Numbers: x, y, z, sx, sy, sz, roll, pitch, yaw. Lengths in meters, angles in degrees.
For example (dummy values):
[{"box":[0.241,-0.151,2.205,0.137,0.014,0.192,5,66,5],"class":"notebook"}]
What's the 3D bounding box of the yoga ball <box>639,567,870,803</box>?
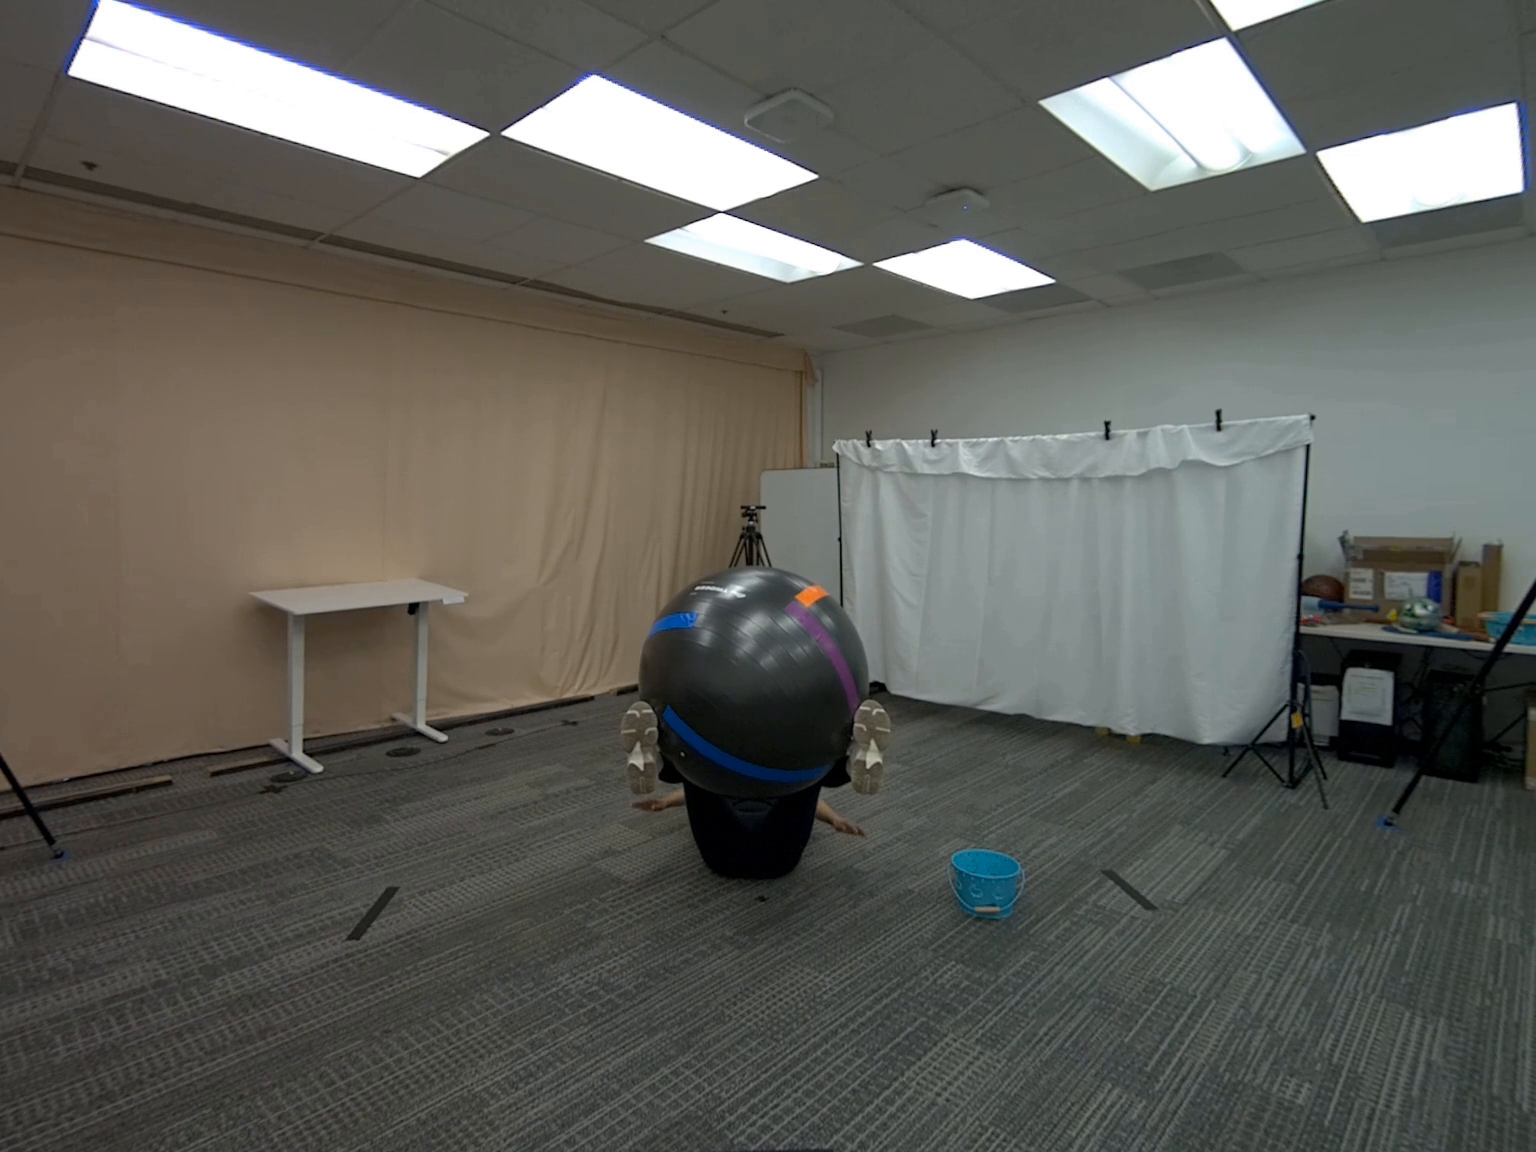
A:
[{"box":[-0.053,0.348,2.778,0.757,0.756,0.760,0,4,-2],"class":"yoga ball"}]
